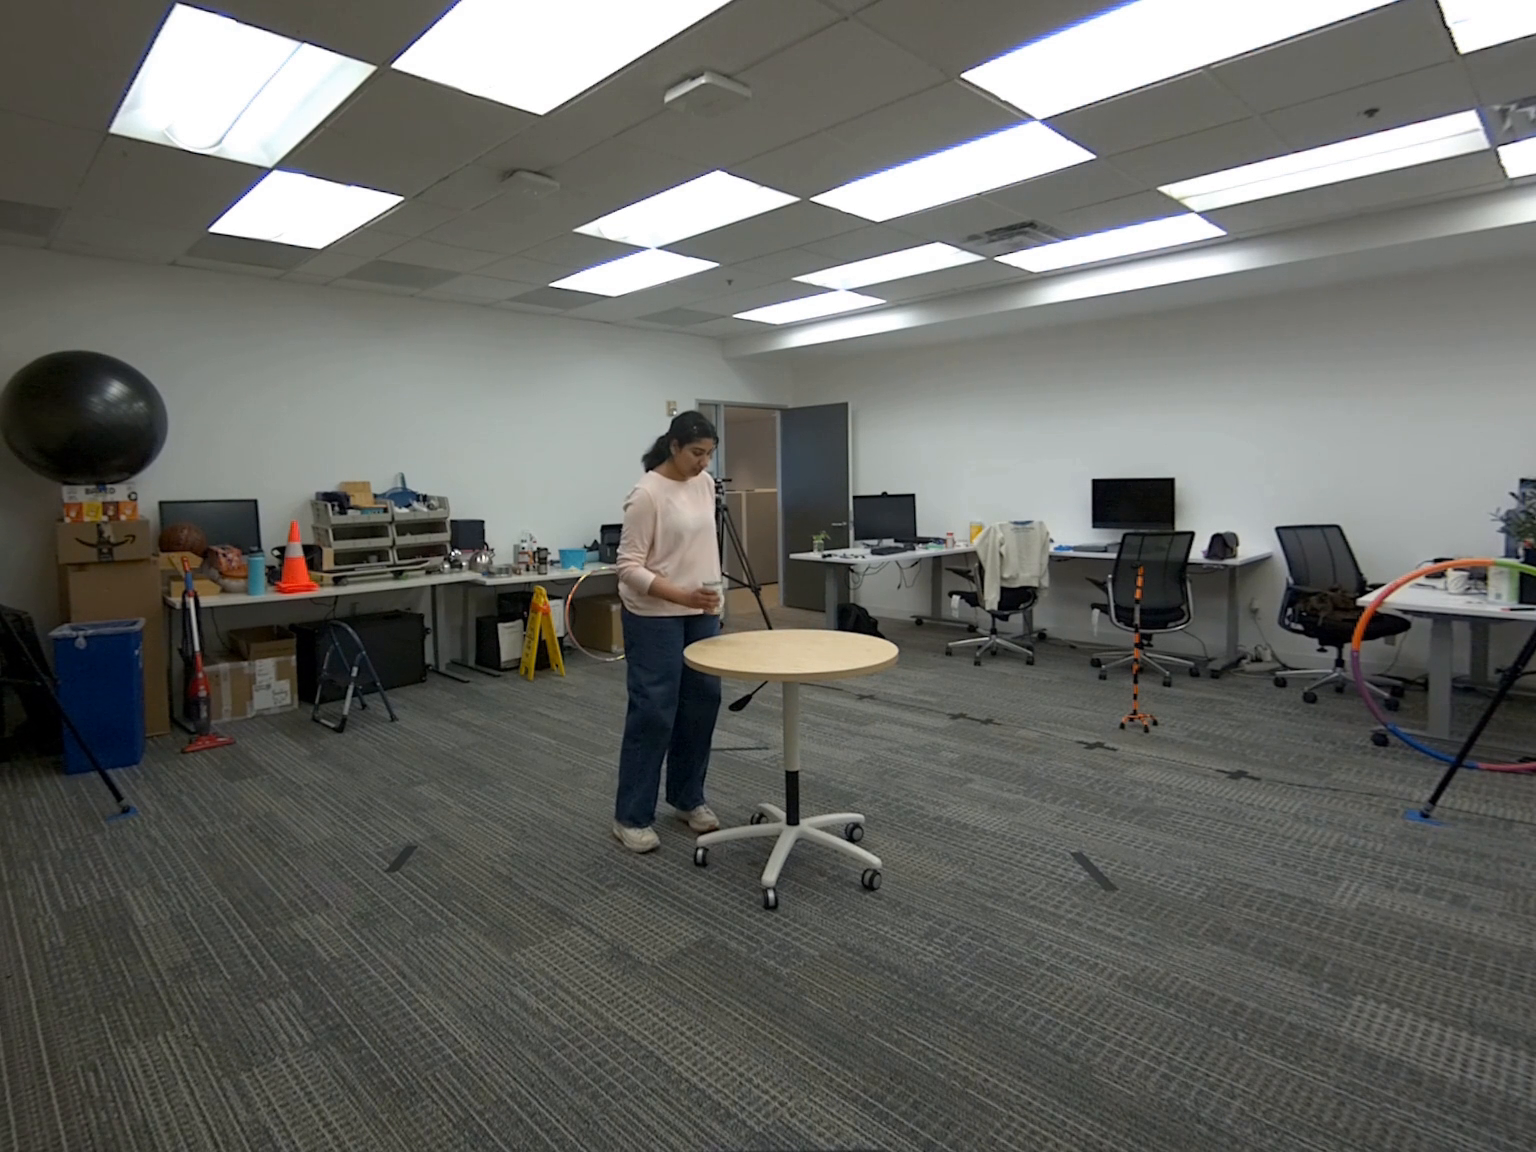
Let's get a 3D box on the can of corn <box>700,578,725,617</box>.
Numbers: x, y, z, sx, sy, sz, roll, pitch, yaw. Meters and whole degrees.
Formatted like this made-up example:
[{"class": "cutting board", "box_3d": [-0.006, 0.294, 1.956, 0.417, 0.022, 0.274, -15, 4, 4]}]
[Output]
[{"class": "can of corn", "box_3d": [-0.214, 0.083, 3.162, 0.074, 0.110, 0.074, -2, 5, -1]}]
